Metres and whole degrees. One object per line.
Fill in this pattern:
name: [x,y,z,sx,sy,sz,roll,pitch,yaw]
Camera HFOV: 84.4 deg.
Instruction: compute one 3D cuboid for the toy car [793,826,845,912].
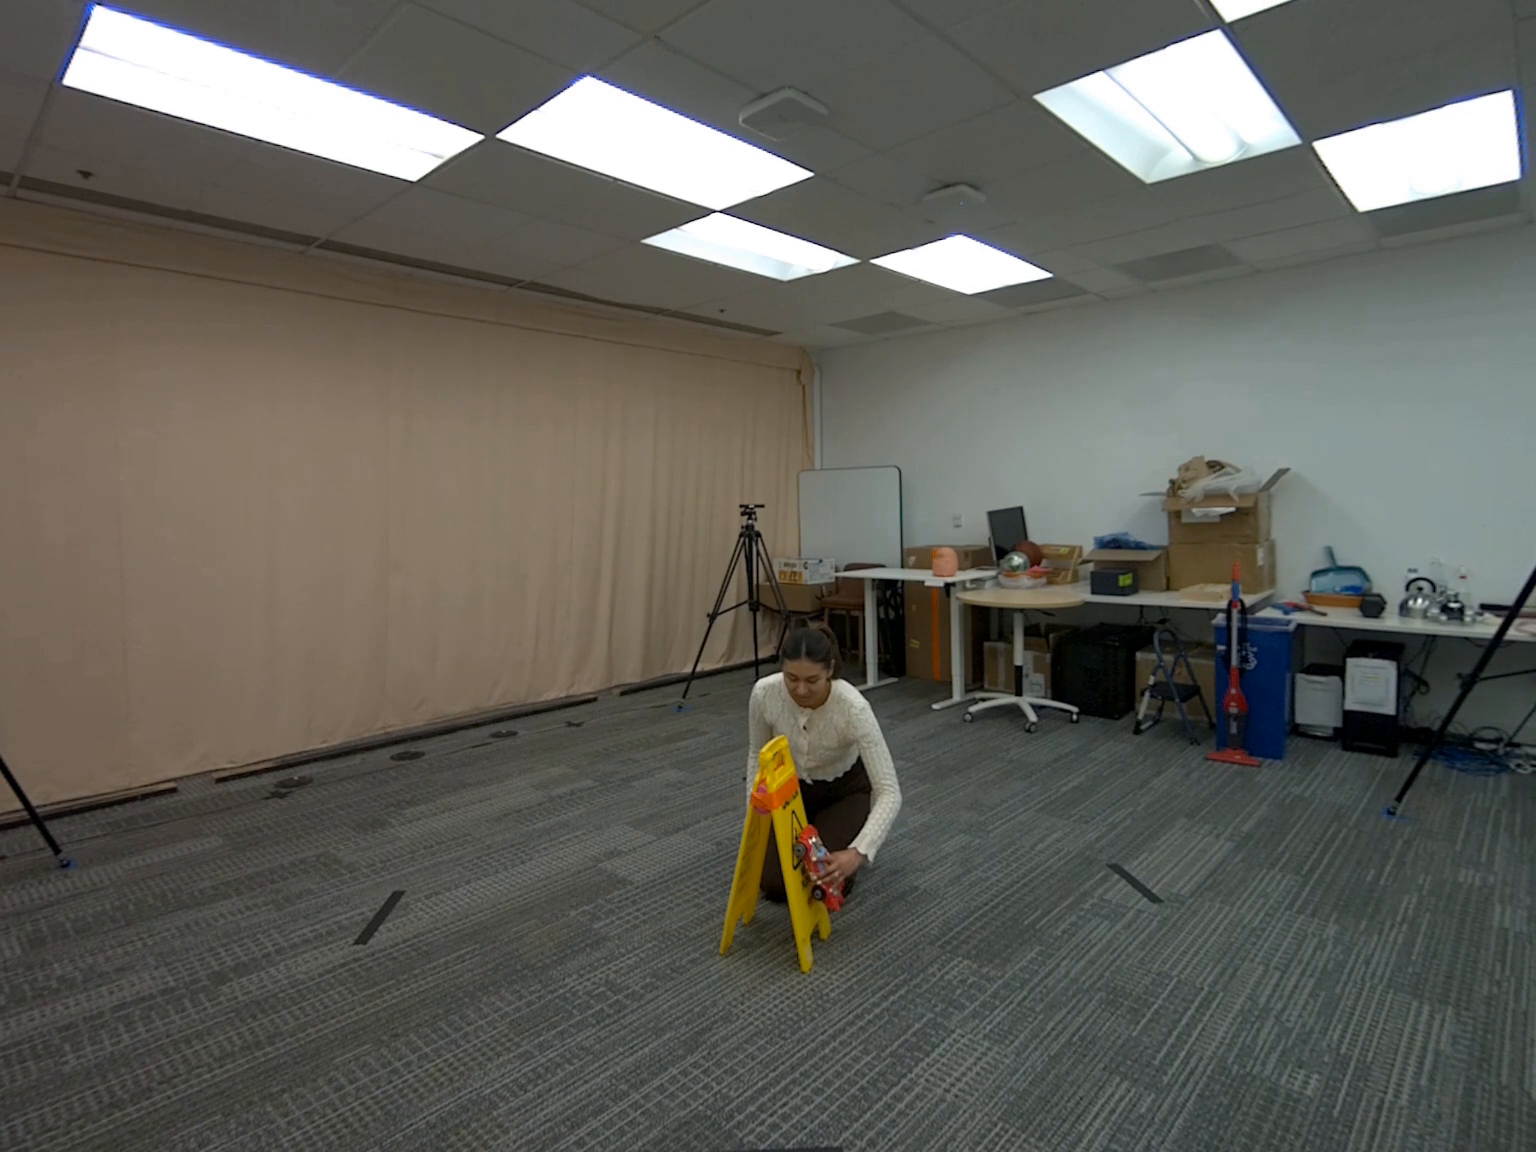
toy car: [0.159,0.911,2.619,0.084,0.256,0.128,-34,-5,23]
